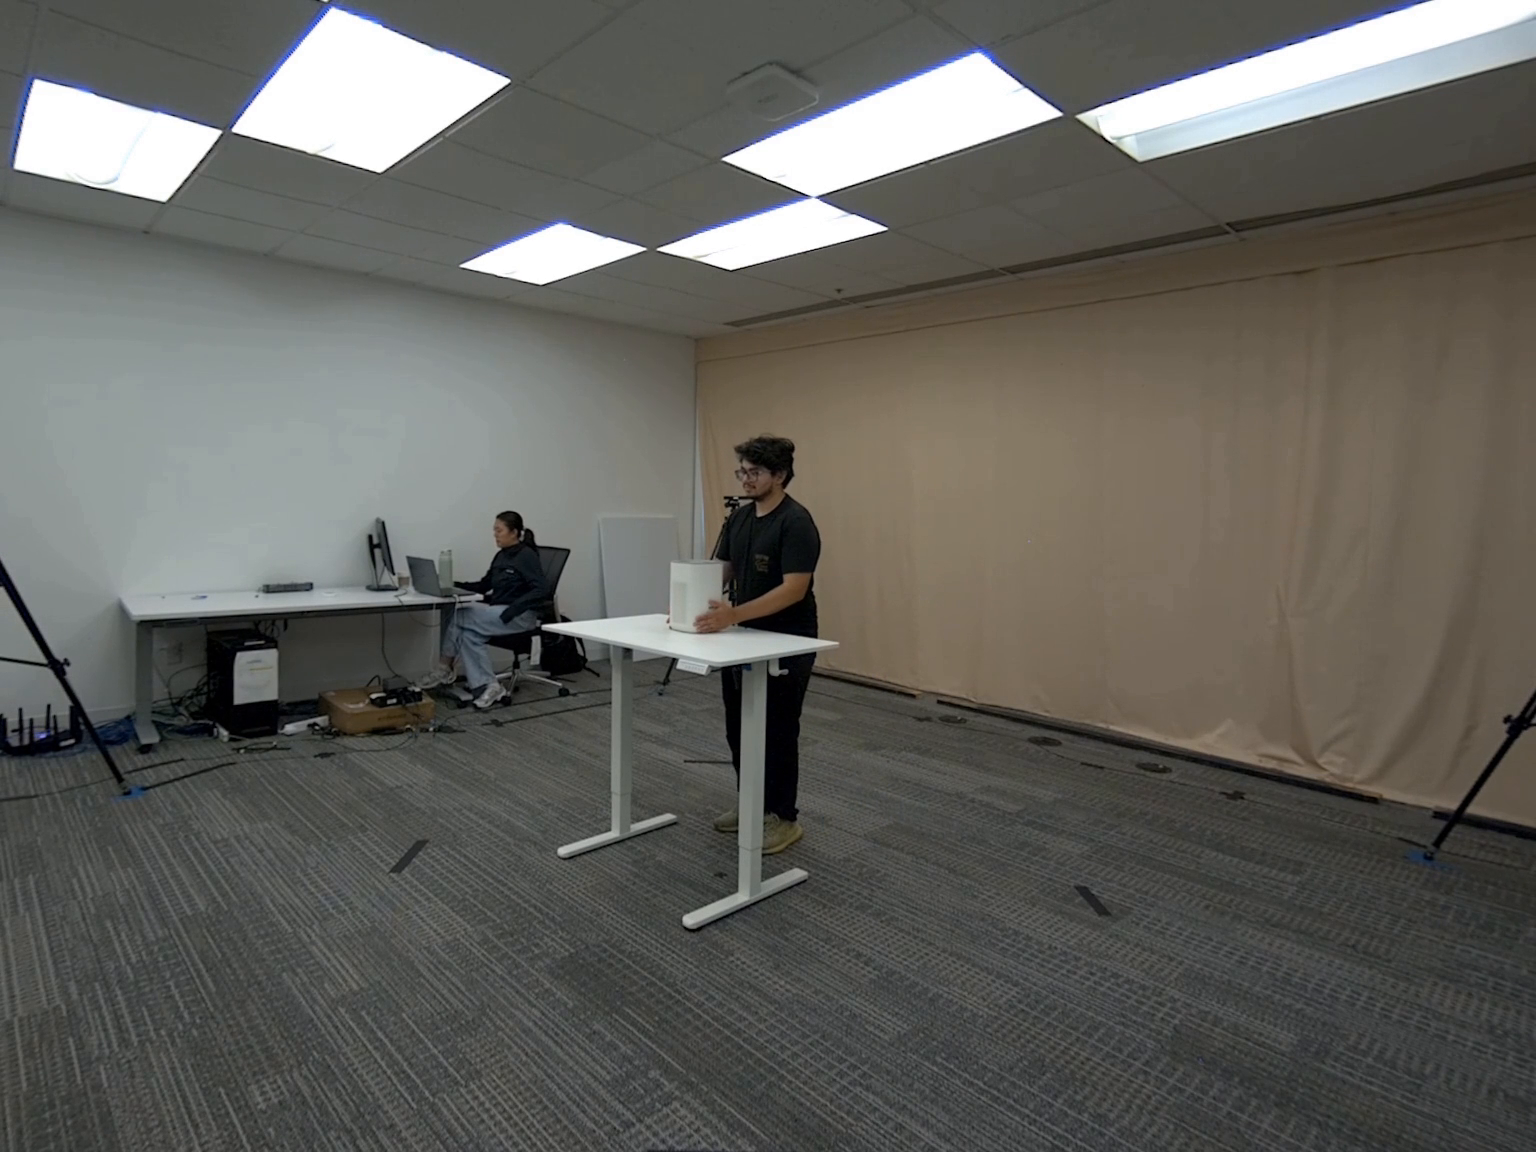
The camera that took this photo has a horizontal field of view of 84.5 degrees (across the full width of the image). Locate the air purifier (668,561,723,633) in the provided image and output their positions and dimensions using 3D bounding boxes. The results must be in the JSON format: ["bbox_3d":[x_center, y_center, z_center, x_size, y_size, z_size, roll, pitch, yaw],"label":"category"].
[{"bbox_3d":[-0.277,0.077,3.208,0.176,0.265,0.167,0,2,45],"label":"air purifier"}]
